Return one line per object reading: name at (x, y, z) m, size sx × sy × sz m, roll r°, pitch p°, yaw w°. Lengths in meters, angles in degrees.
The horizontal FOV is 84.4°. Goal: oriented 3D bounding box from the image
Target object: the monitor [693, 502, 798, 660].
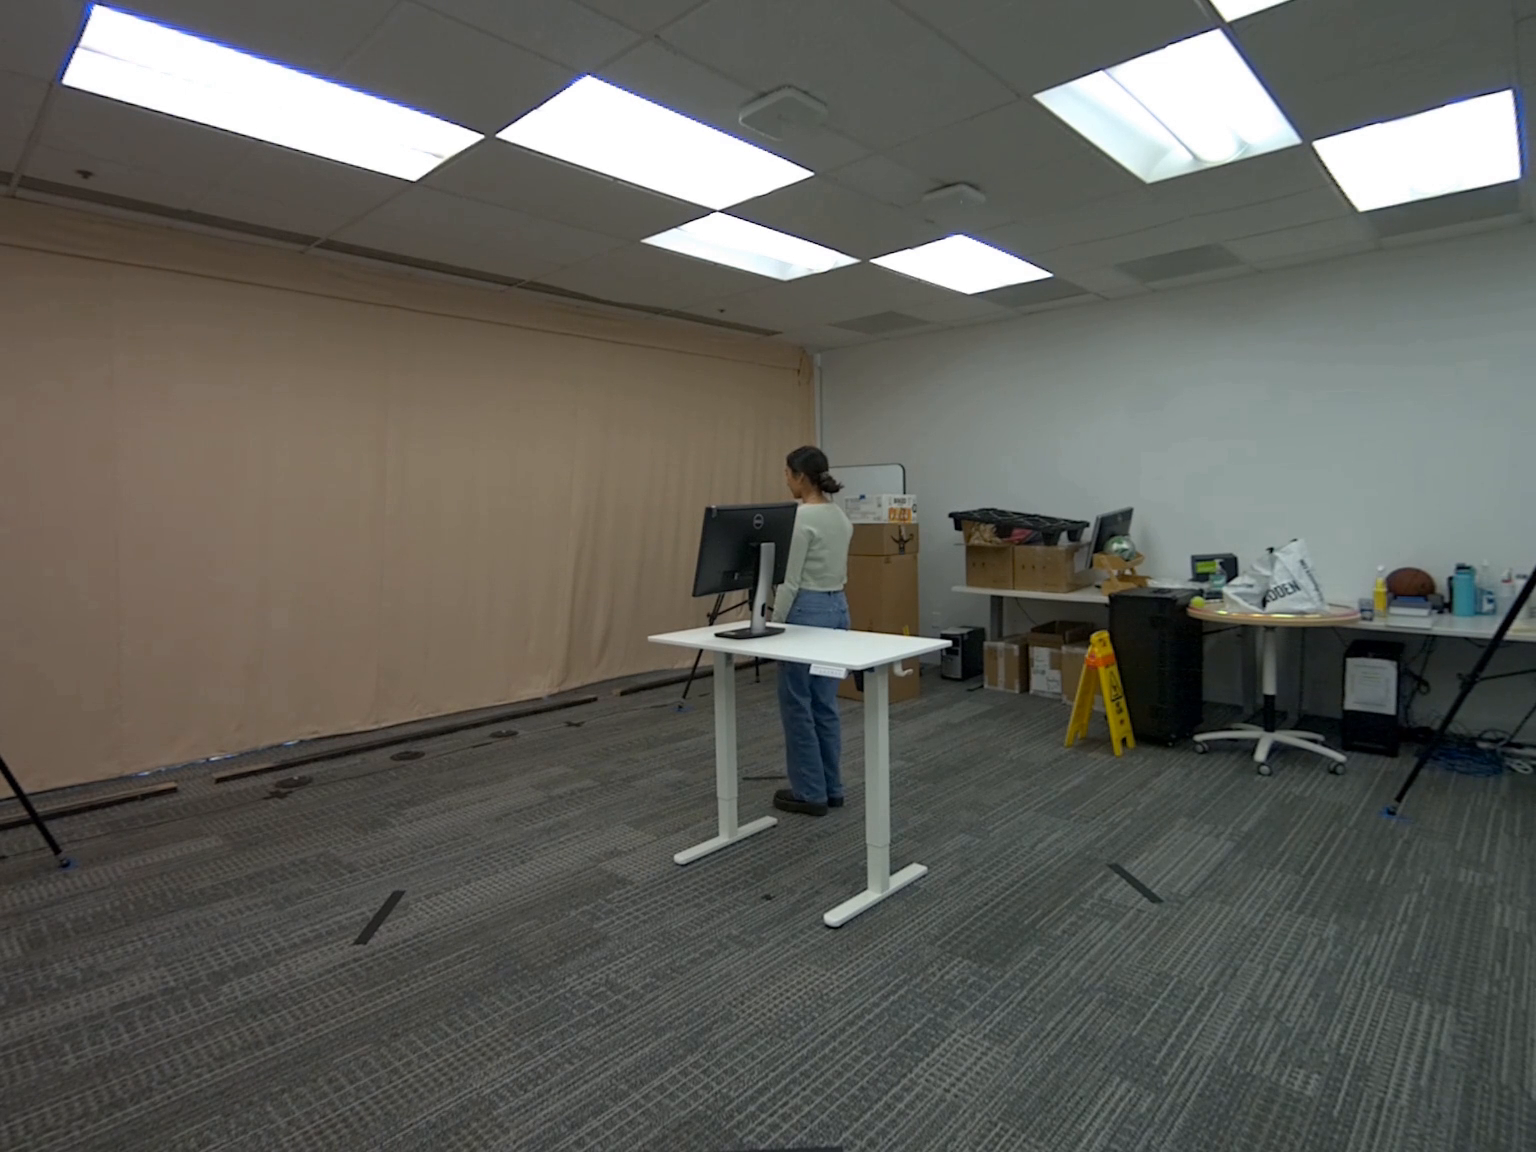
monitor at (-0.056, -0.019, 3.301) m, size 0.193 × 0.521 × 0.523 m, roll 5°, pitch 8°, yaw 40°
